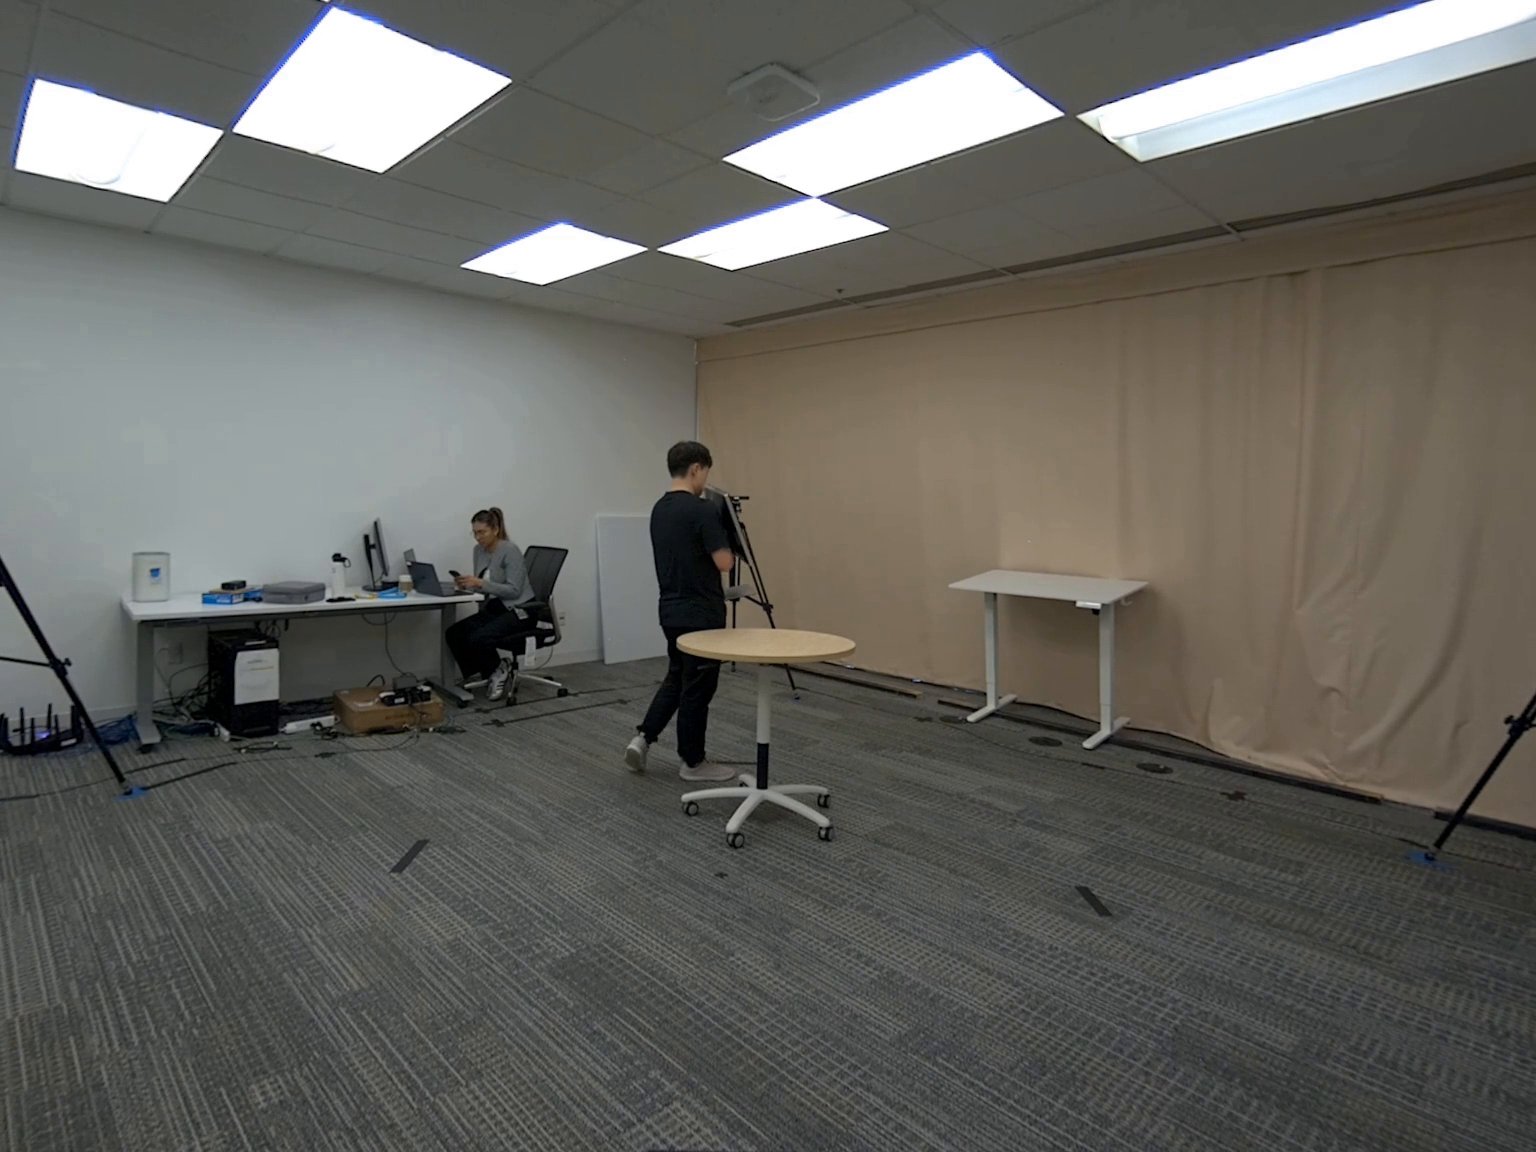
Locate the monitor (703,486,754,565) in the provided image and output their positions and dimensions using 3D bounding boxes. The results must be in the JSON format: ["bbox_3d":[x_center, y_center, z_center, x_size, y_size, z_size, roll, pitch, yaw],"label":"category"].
[{"bbox_3d":[-0.236,-0.175,4.211,0.185,0.517,0.549,-10,13,-15],"label":"monitor"}]
